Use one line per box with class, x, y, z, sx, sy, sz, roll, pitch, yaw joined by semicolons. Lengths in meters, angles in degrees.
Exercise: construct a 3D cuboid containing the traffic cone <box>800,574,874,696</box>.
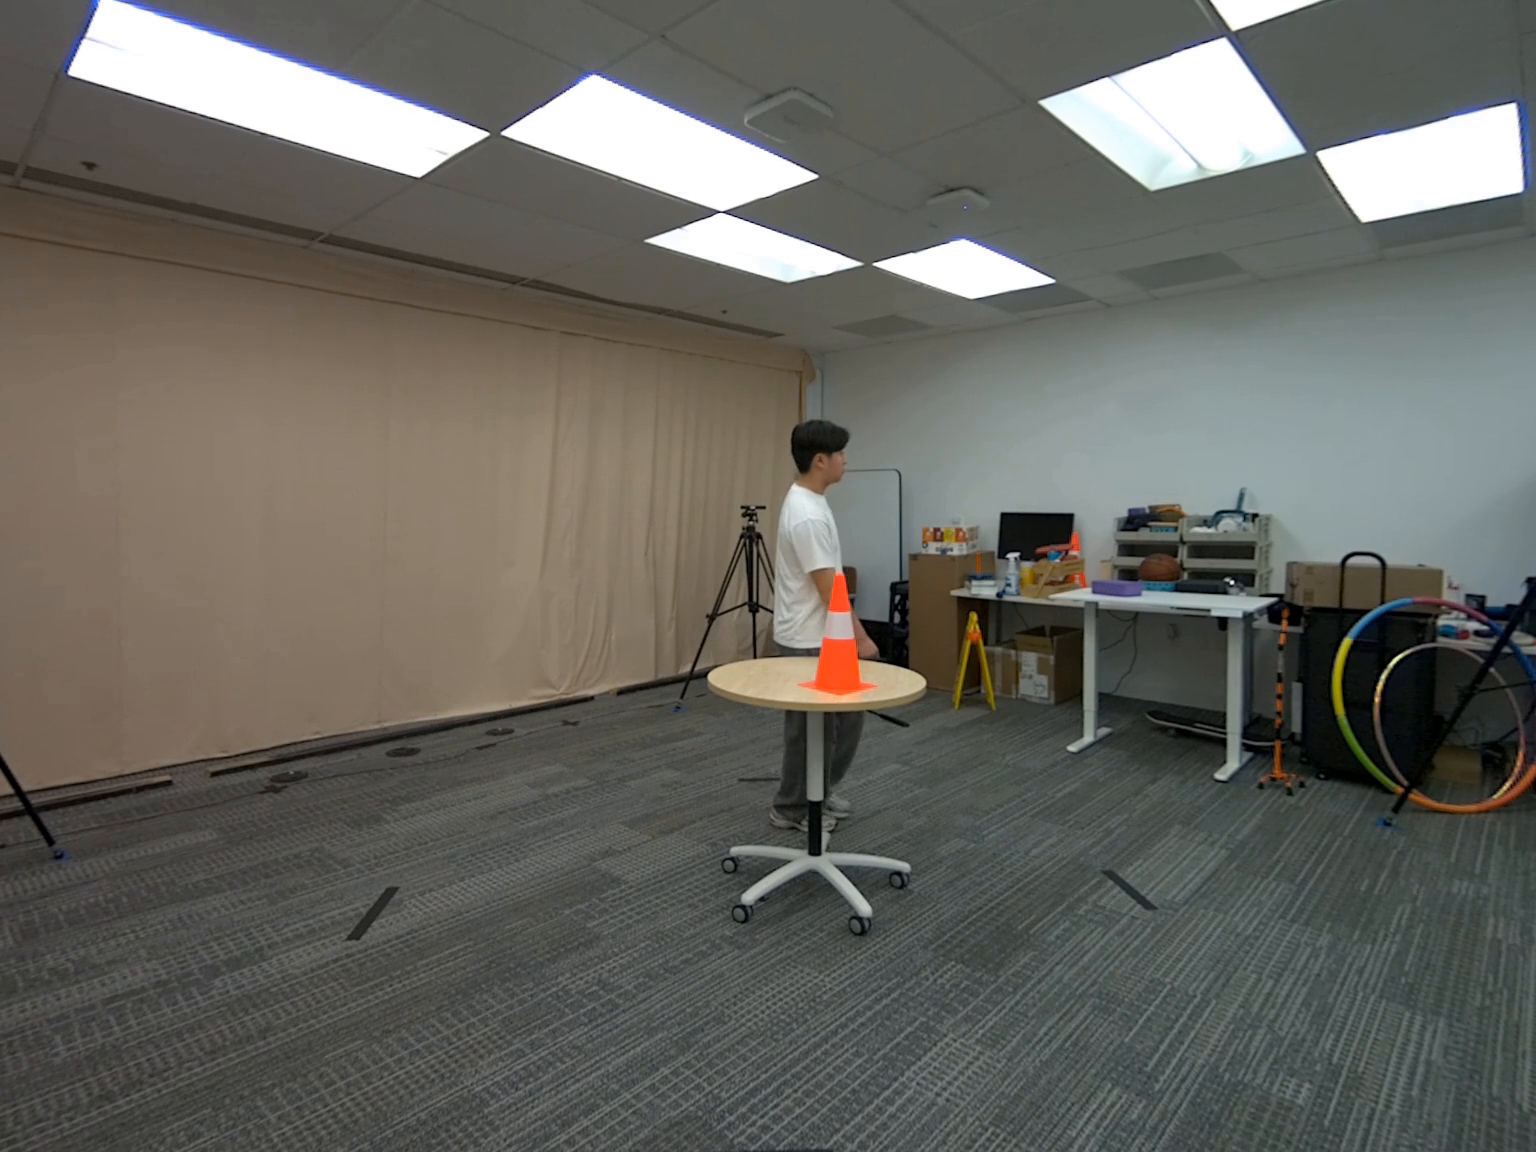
traffic cone;0.243;0.185;2.844;0.212;0.383;0.197;3;5;44
